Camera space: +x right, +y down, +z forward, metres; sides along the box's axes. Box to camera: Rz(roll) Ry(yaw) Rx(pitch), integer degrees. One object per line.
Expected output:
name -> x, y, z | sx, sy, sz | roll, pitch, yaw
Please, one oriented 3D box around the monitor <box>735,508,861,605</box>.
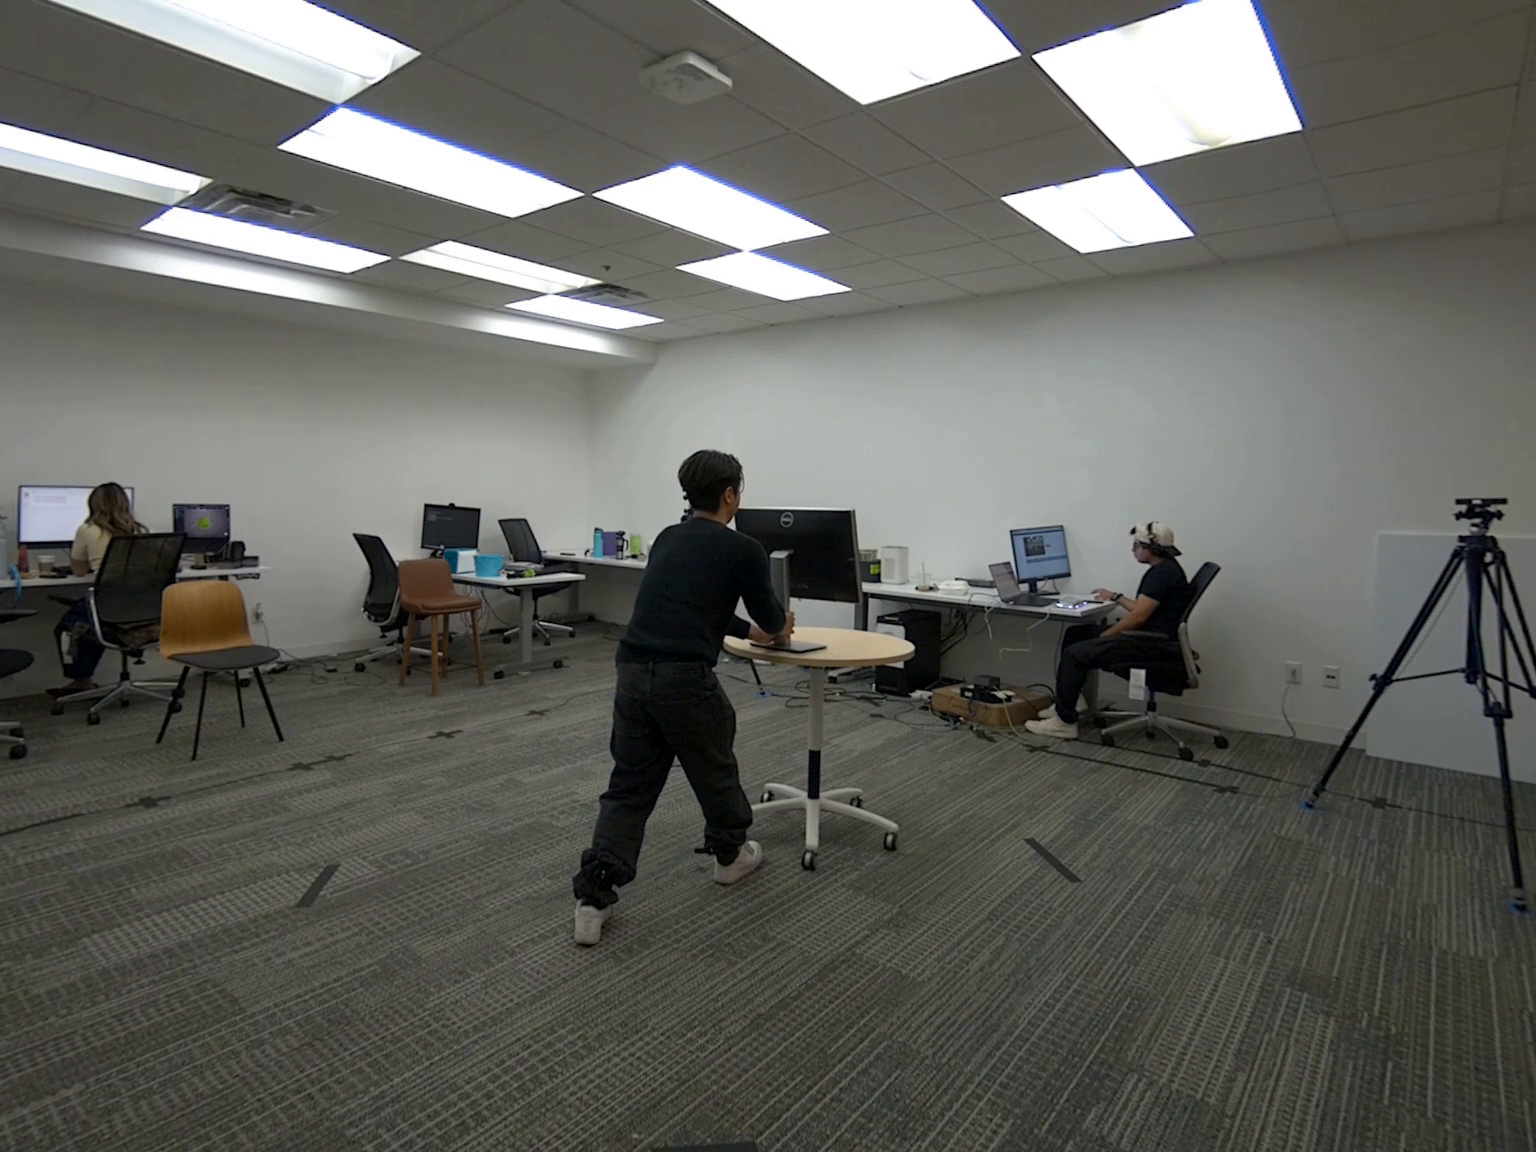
monitor -> 0.078, 0.003, 3.305 | 0.557, 0.521, 0.181 | 4, 3, 37
